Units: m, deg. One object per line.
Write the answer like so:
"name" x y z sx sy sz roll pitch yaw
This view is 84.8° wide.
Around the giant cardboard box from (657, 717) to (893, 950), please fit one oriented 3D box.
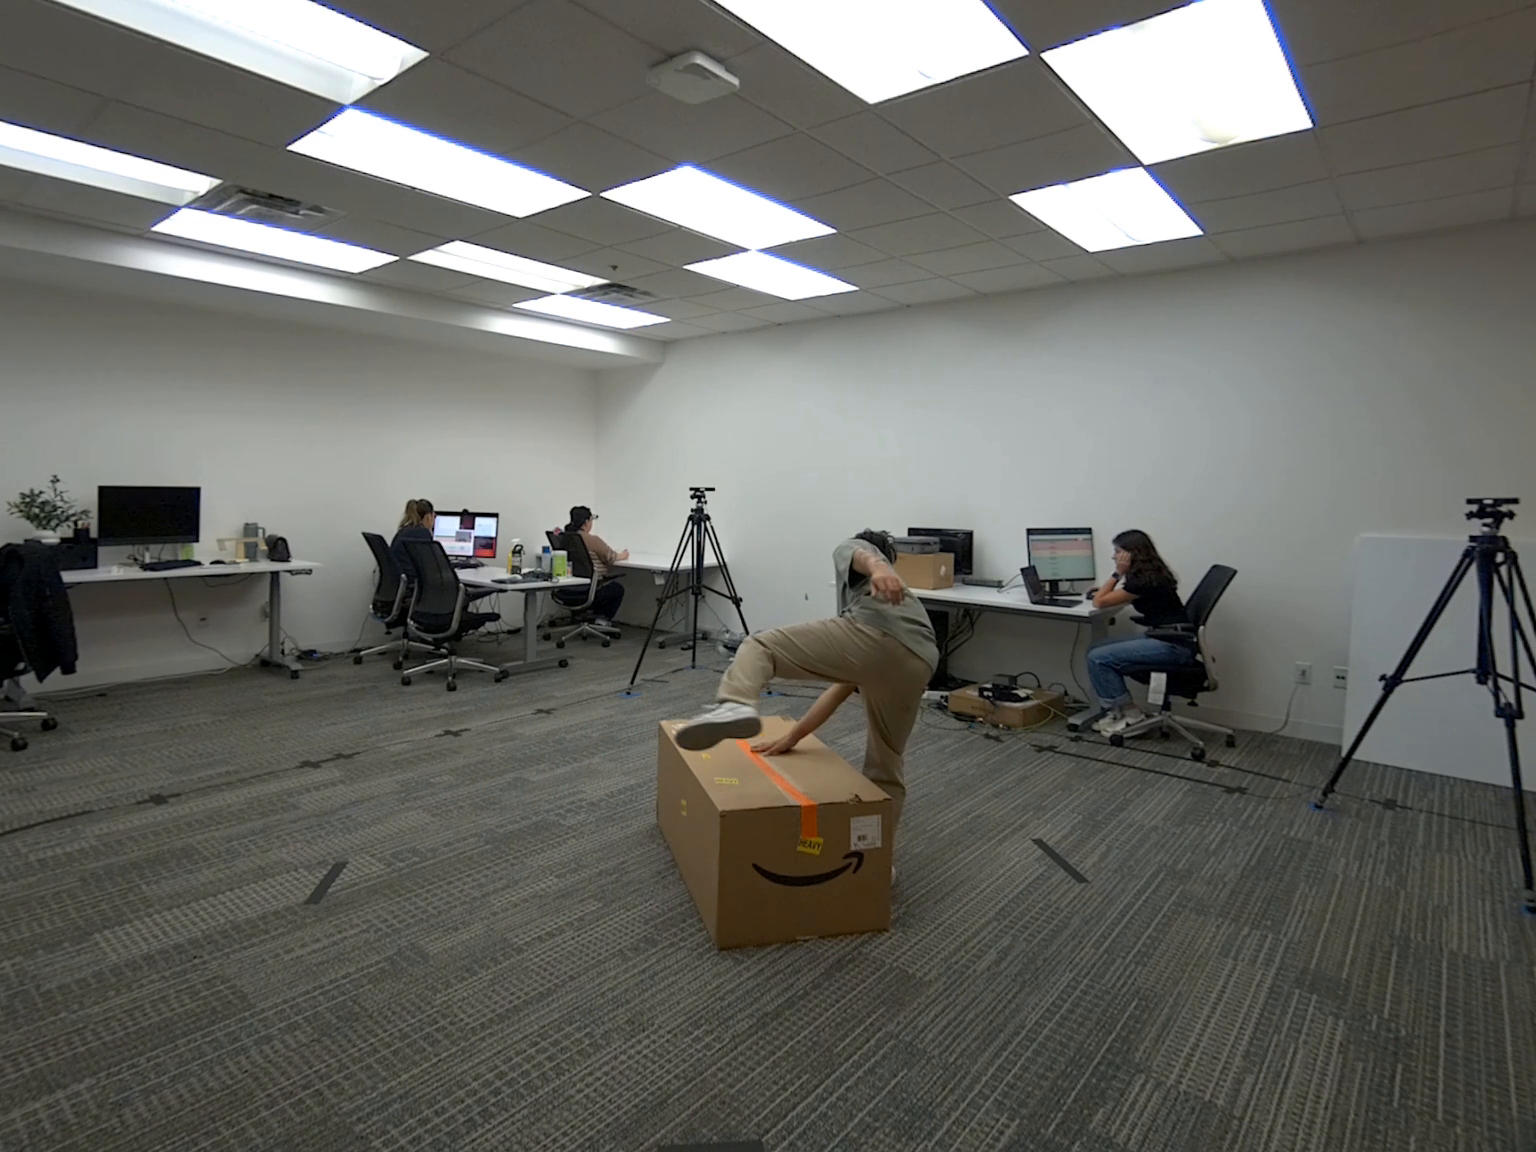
"giant cardboard box" -0.044 0.856 3.104 0.568 0.424 1.047 0 5 -17
